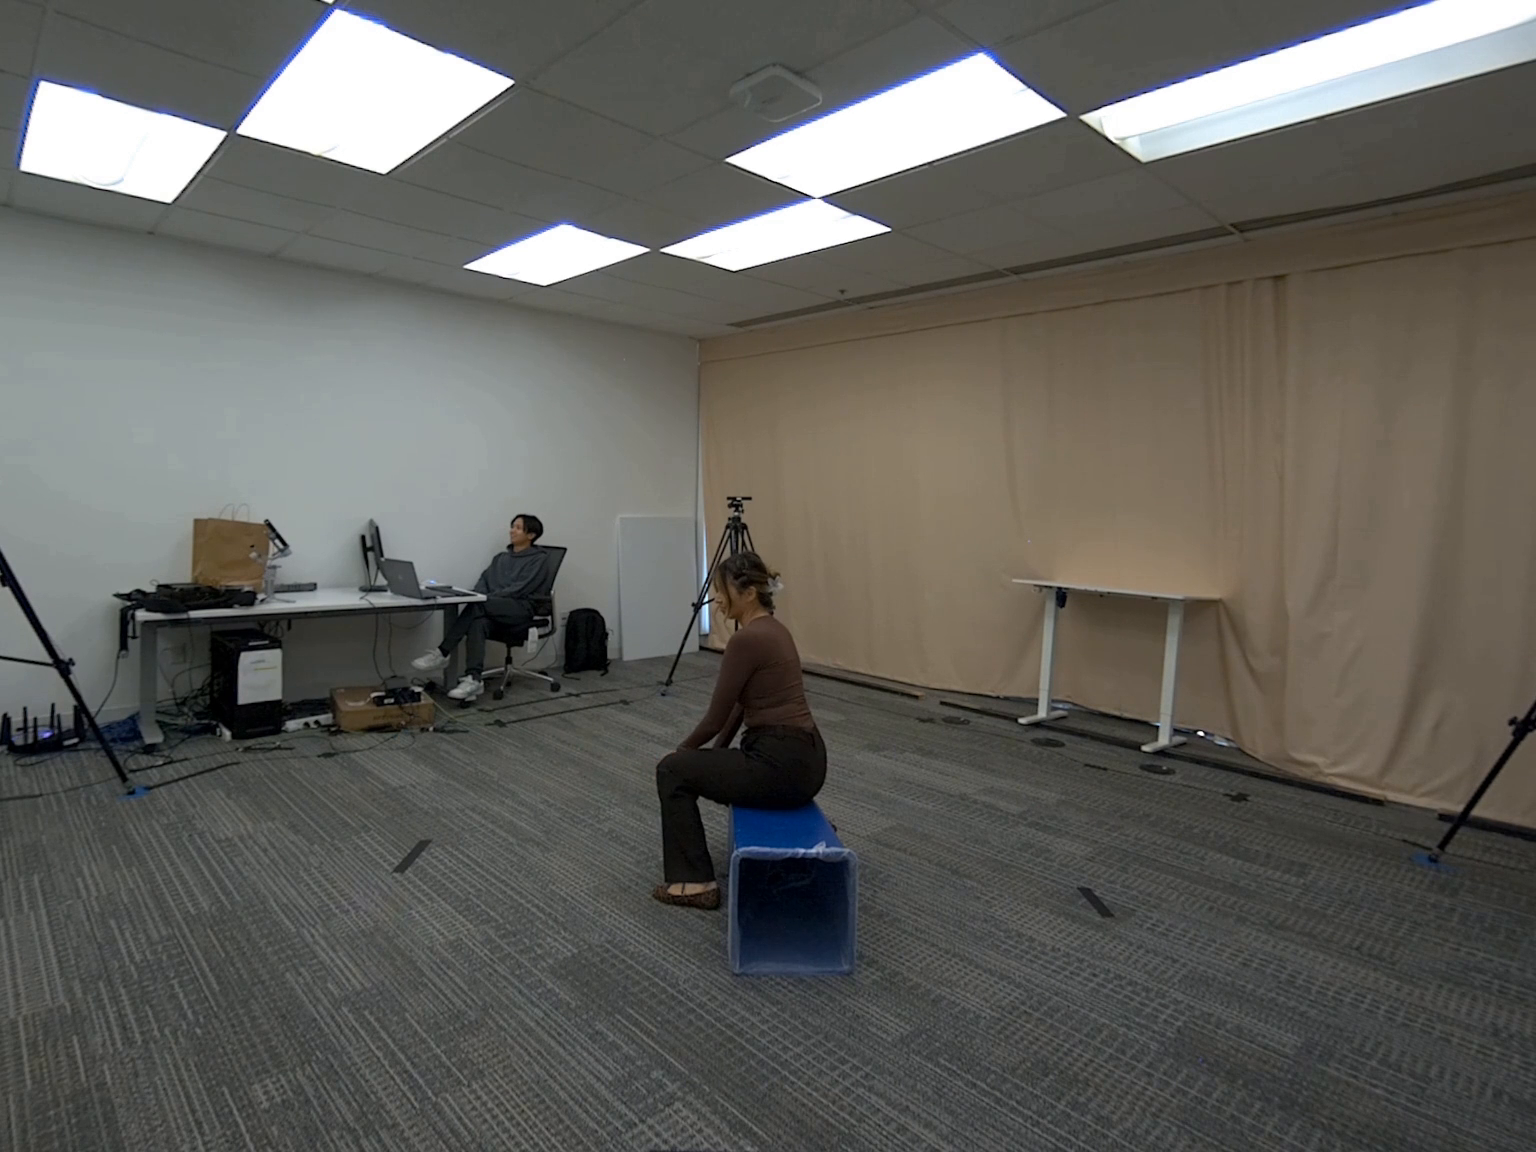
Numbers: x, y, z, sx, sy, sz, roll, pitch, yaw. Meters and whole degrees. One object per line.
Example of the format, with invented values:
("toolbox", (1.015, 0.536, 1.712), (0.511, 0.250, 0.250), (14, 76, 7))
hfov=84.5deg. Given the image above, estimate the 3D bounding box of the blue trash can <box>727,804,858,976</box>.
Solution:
("blue trash can", (0.020, 0.968, 2.806), (0.372, 0.378, 0.718), (1, 2, -7))
